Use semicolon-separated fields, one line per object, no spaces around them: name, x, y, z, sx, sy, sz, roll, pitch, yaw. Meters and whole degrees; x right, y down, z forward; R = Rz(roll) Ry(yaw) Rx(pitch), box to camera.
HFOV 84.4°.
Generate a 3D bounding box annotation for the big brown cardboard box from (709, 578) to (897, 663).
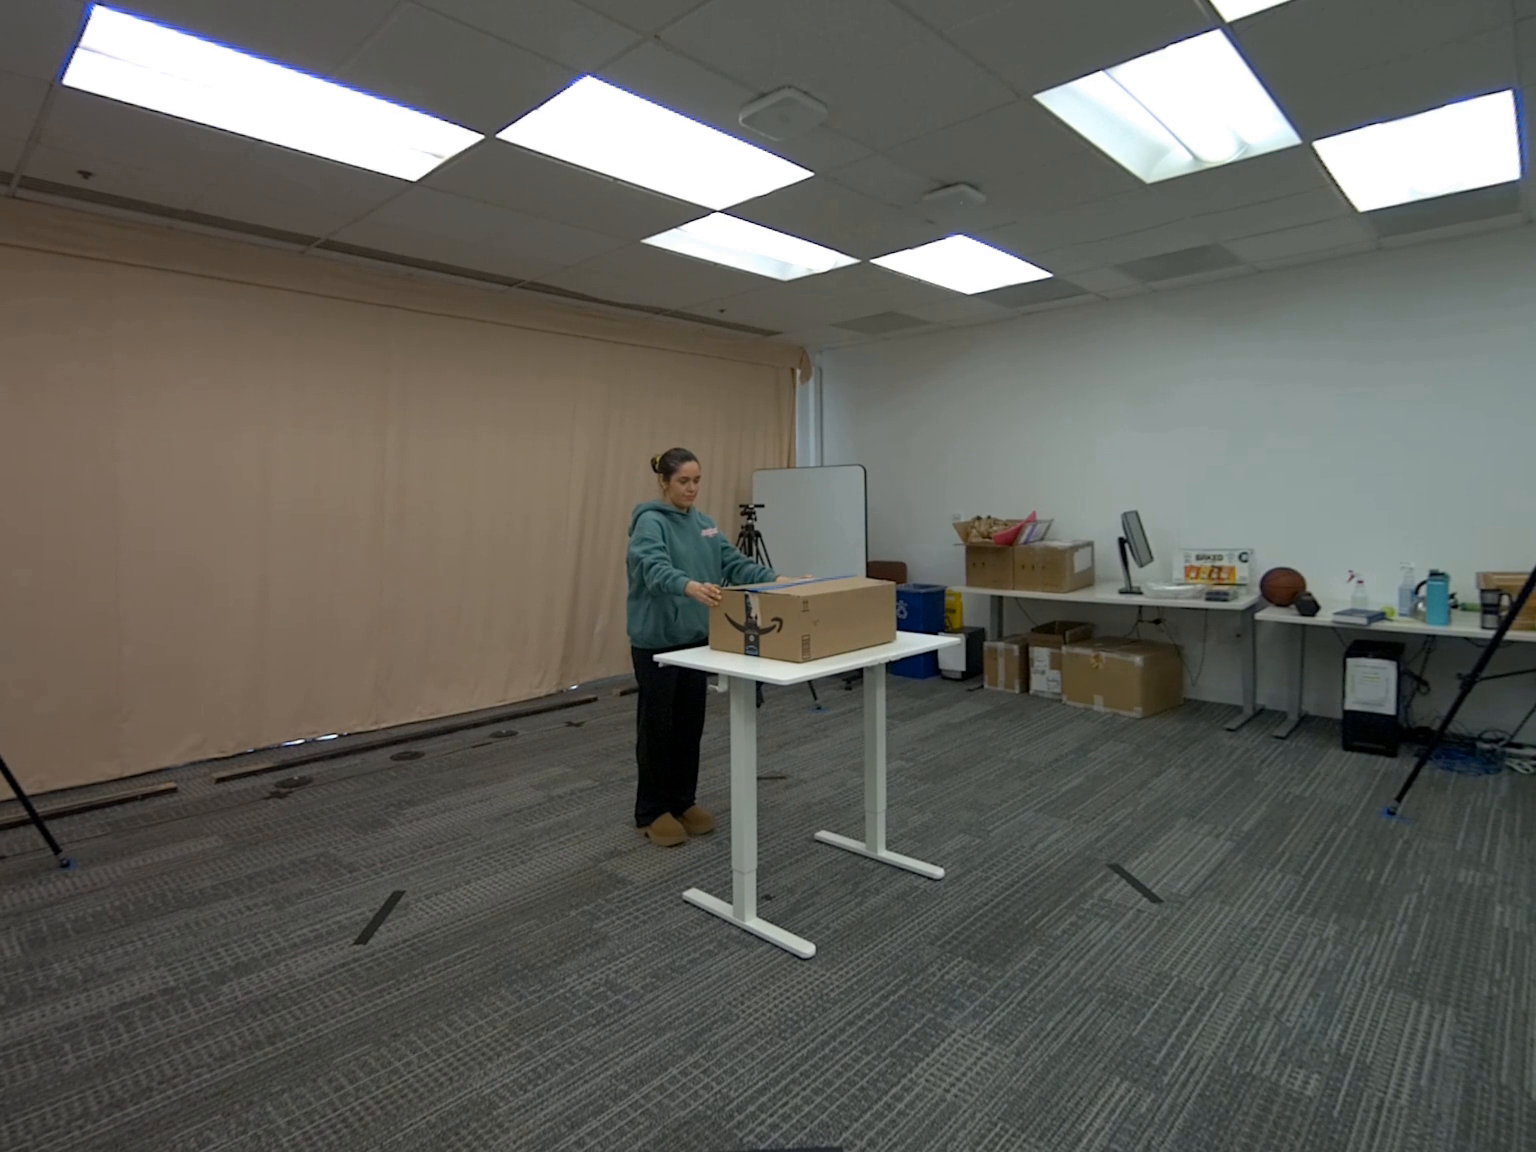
big brown cardboard box;0.139;0.146;3.024;0.431;0.232;0.571;3;7;42
